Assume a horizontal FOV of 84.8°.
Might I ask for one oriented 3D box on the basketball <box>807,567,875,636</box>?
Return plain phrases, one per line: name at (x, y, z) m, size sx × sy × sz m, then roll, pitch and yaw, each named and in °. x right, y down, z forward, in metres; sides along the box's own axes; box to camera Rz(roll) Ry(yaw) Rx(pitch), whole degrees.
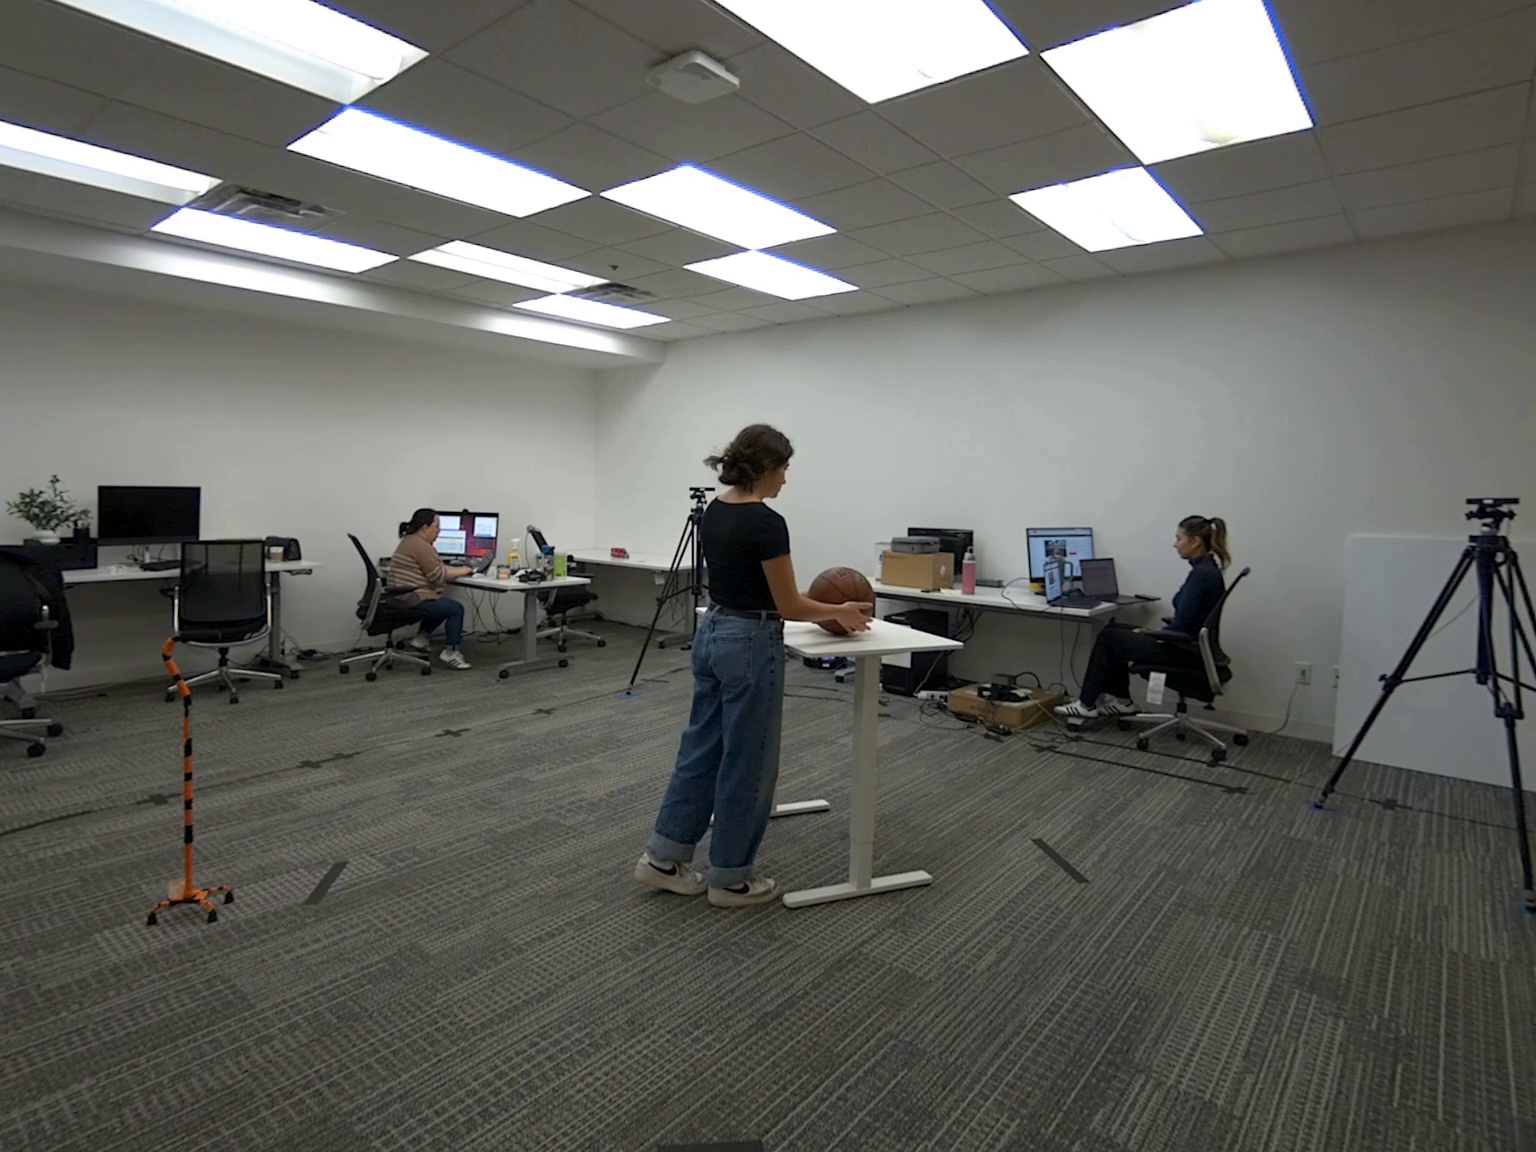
basketball at (0.249, 0.085, 3.017) m, size 0.235 × 0.235 × 0.237 m, roll 1°, pitch 4°, yaw -2°
